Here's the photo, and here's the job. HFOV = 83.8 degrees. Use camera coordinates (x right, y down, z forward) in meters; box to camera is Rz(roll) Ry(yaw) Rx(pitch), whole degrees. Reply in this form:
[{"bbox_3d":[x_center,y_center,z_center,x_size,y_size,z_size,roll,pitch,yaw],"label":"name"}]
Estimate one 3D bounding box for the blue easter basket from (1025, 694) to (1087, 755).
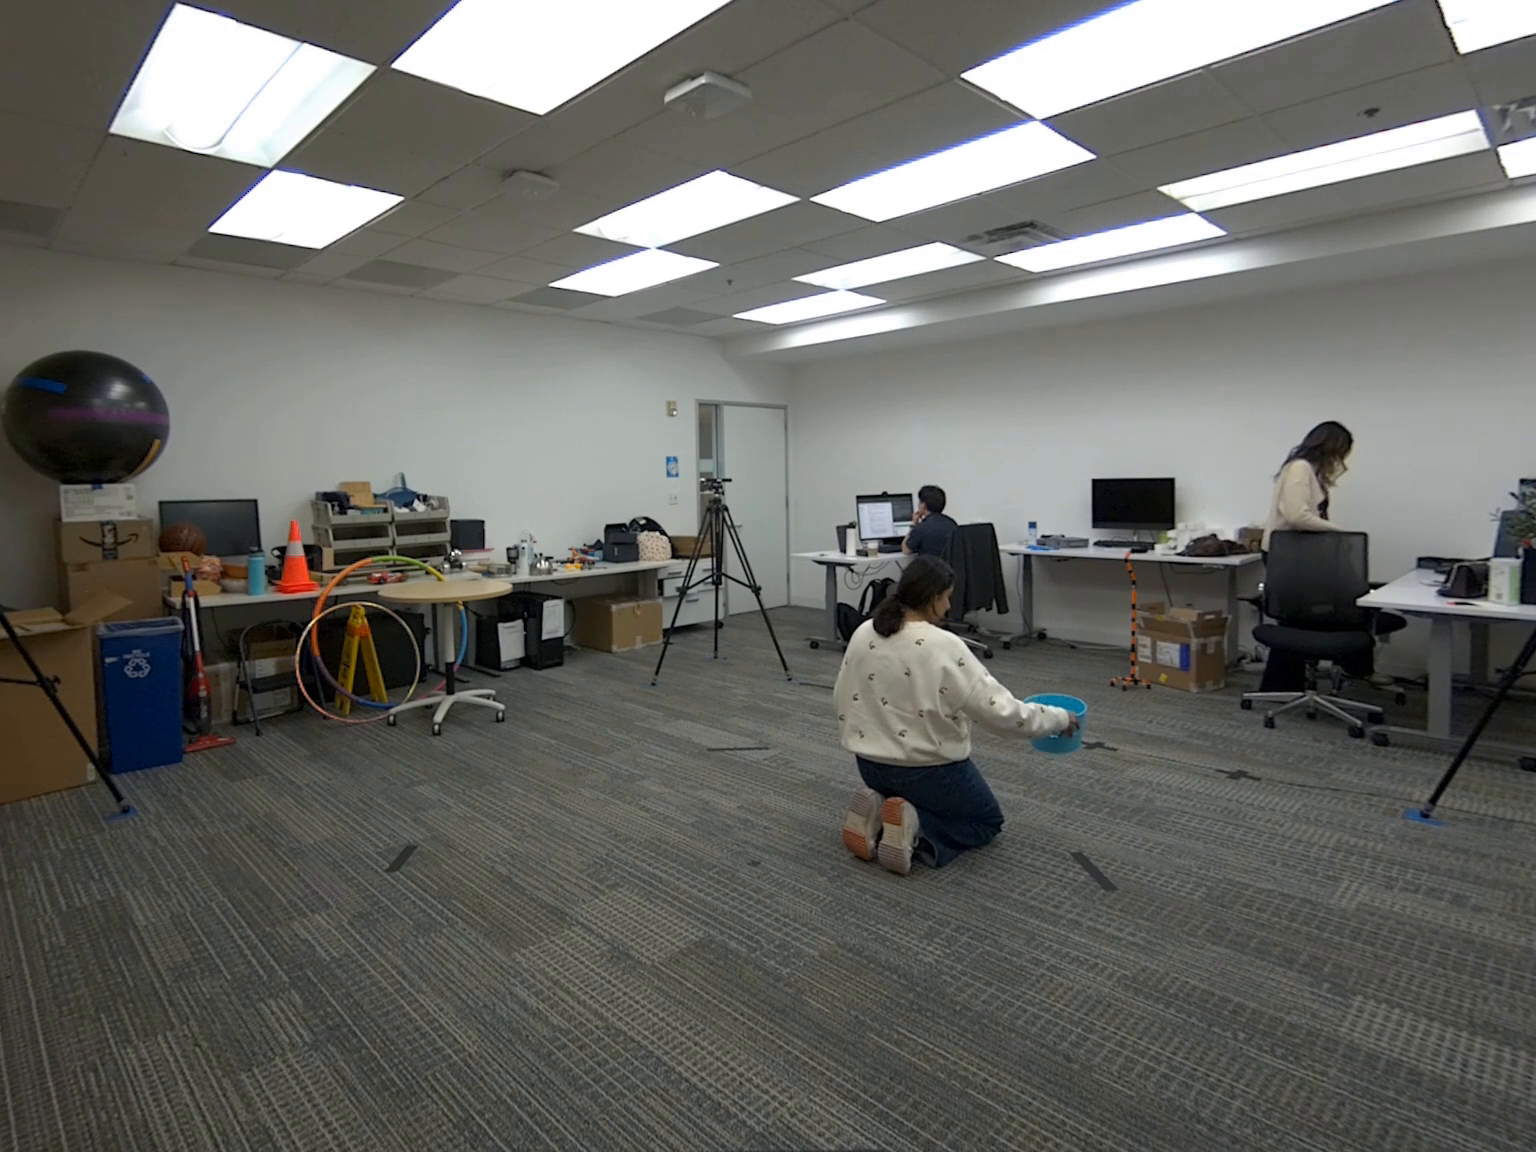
[{"bbox_3d":[1.076,0.564,3.226,0.244,0.154,0.246,-6,12,0],"label":"blue easter basket"}]
